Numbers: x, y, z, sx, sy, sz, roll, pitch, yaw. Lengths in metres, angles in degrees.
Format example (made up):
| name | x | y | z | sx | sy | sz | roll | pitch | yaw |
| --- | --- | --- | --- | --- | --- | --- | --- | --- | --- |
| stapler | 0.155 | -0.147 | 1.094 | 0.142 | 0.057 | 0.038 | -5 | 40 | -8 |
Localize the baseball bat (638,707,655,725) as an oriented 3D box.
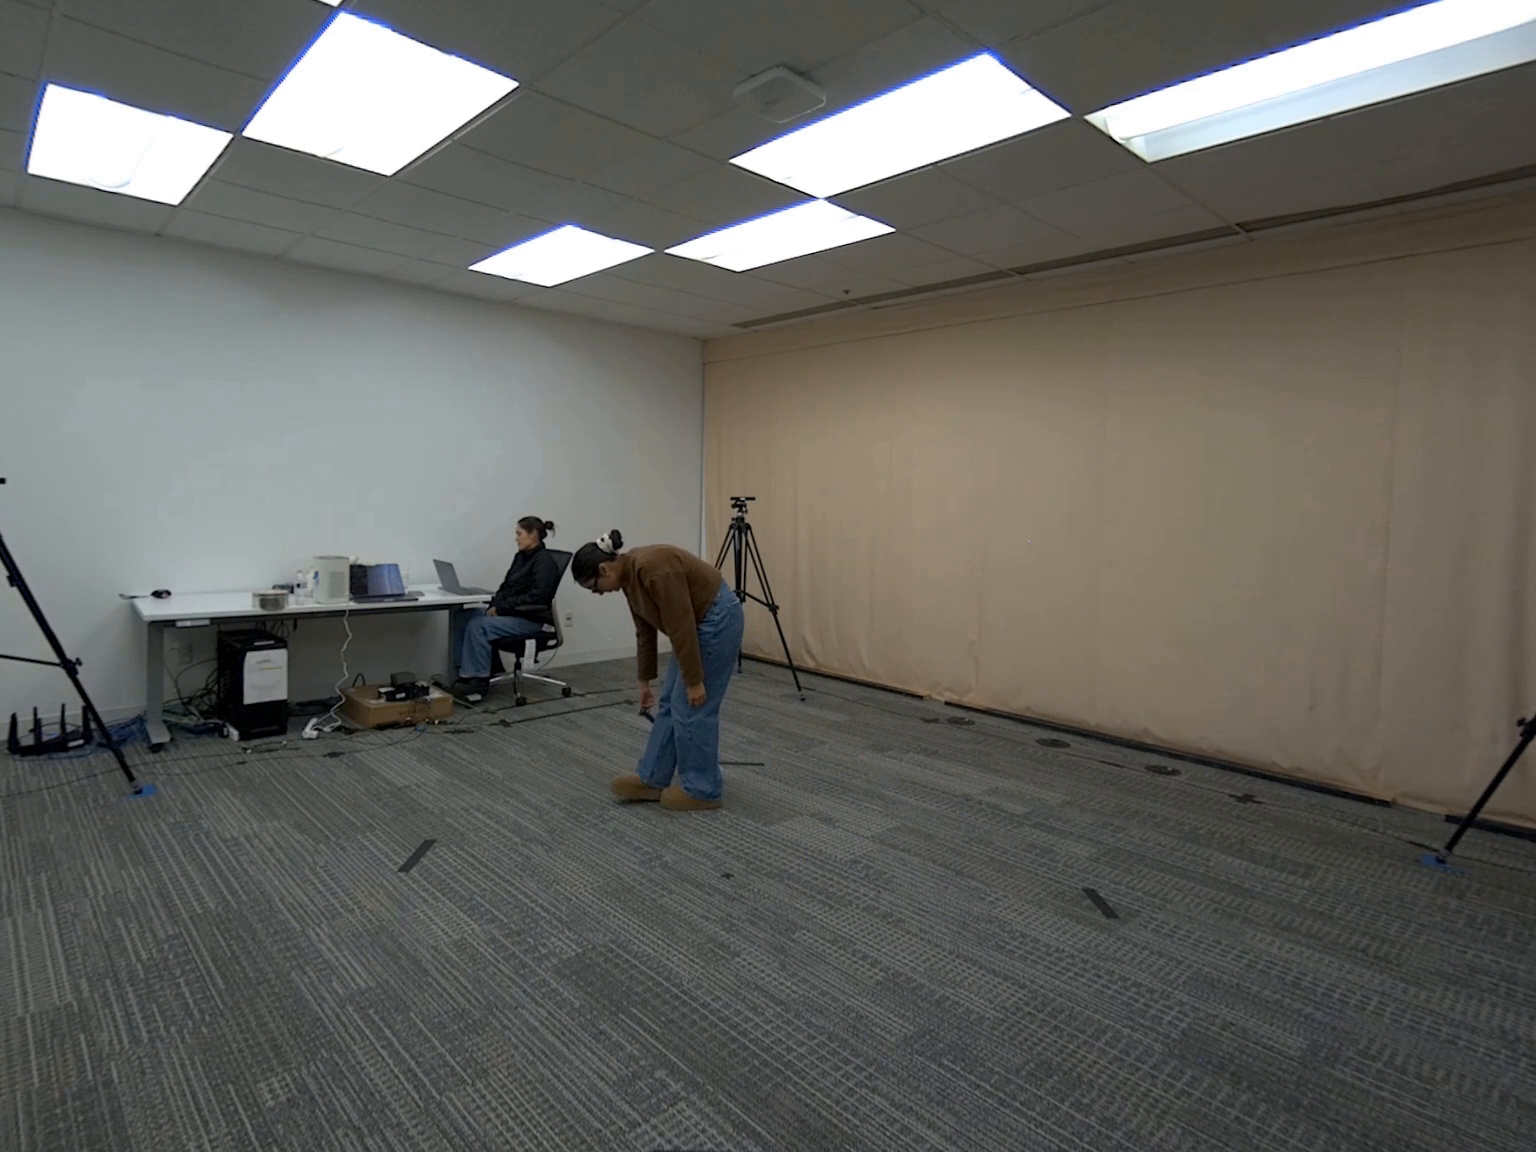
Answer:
| name | x | y | z | sx | sy | sz | roll | pitch | yaw |
| --- | --- | --- | --- | --- | --- | --- | --- | --- | --- |
| baseball bat | -0.427 | 0.820 | 4.076 | 0.533 | 0.089 | 0.090 | 44 | -12 | -18 |
